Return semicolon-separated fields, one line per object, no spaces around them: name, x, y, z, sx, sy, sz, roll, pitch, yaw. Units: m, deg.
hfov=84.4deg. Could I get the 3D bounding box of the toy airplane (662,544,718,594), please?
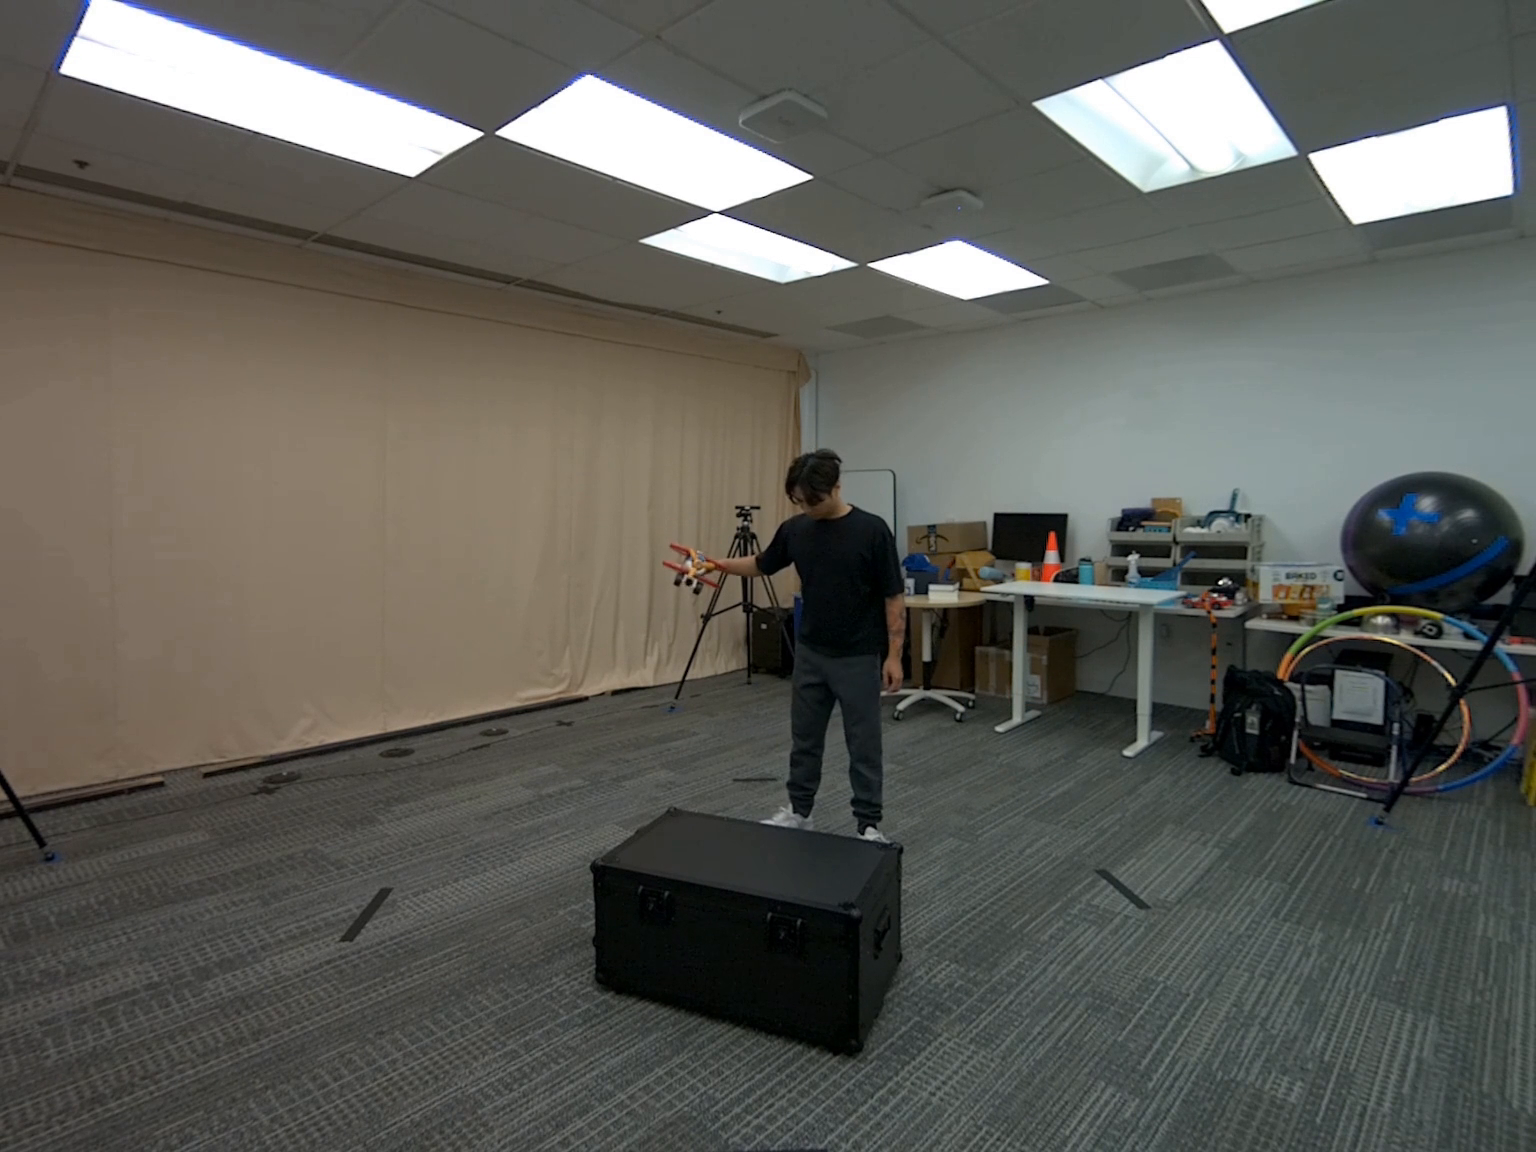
toy airplane;-0.329;-0.017;3.456;0.242;0.156;0.268;25;2;-37
